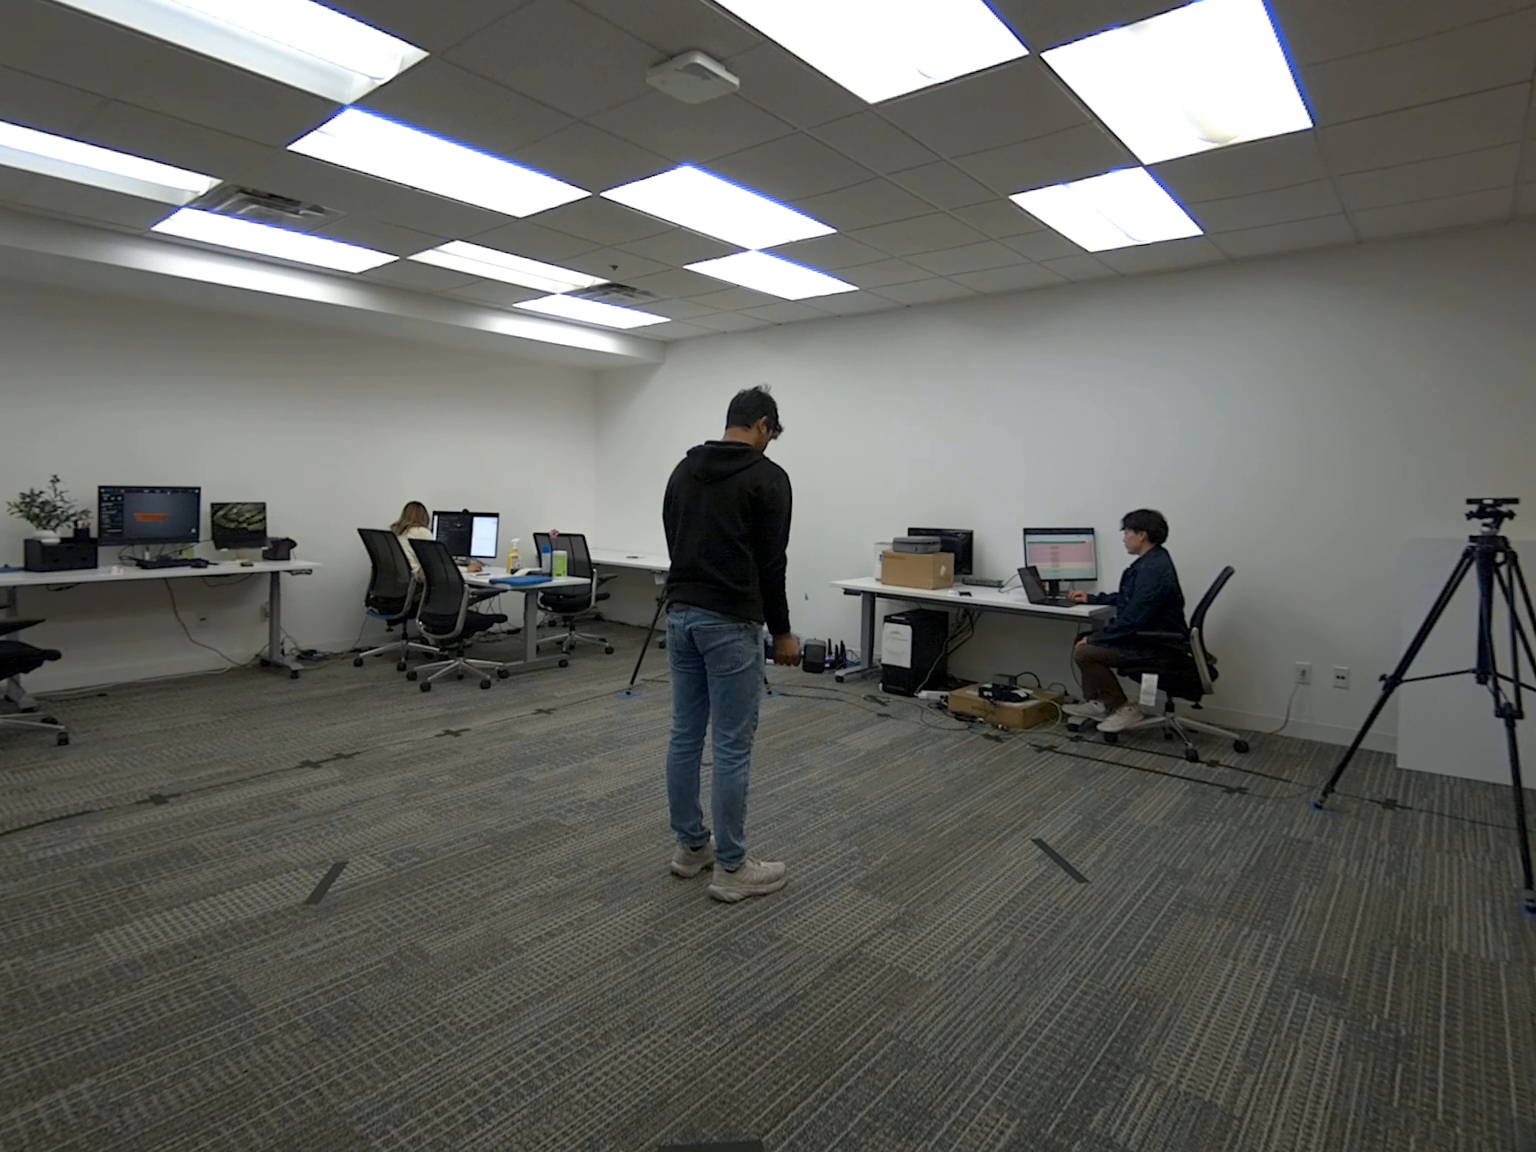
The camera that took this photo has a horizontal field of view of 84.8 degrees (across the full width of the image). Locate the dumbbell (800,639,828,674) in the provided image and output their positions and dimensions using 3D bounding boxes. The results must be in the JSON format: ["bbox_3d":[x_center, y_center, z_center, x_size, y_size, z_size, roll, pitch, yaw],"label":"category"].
[{"bbox_3d":[0.051,0.276,3.053,0.295,0.125,0.106,5,-17,5],"label":"dumbbell"}]
